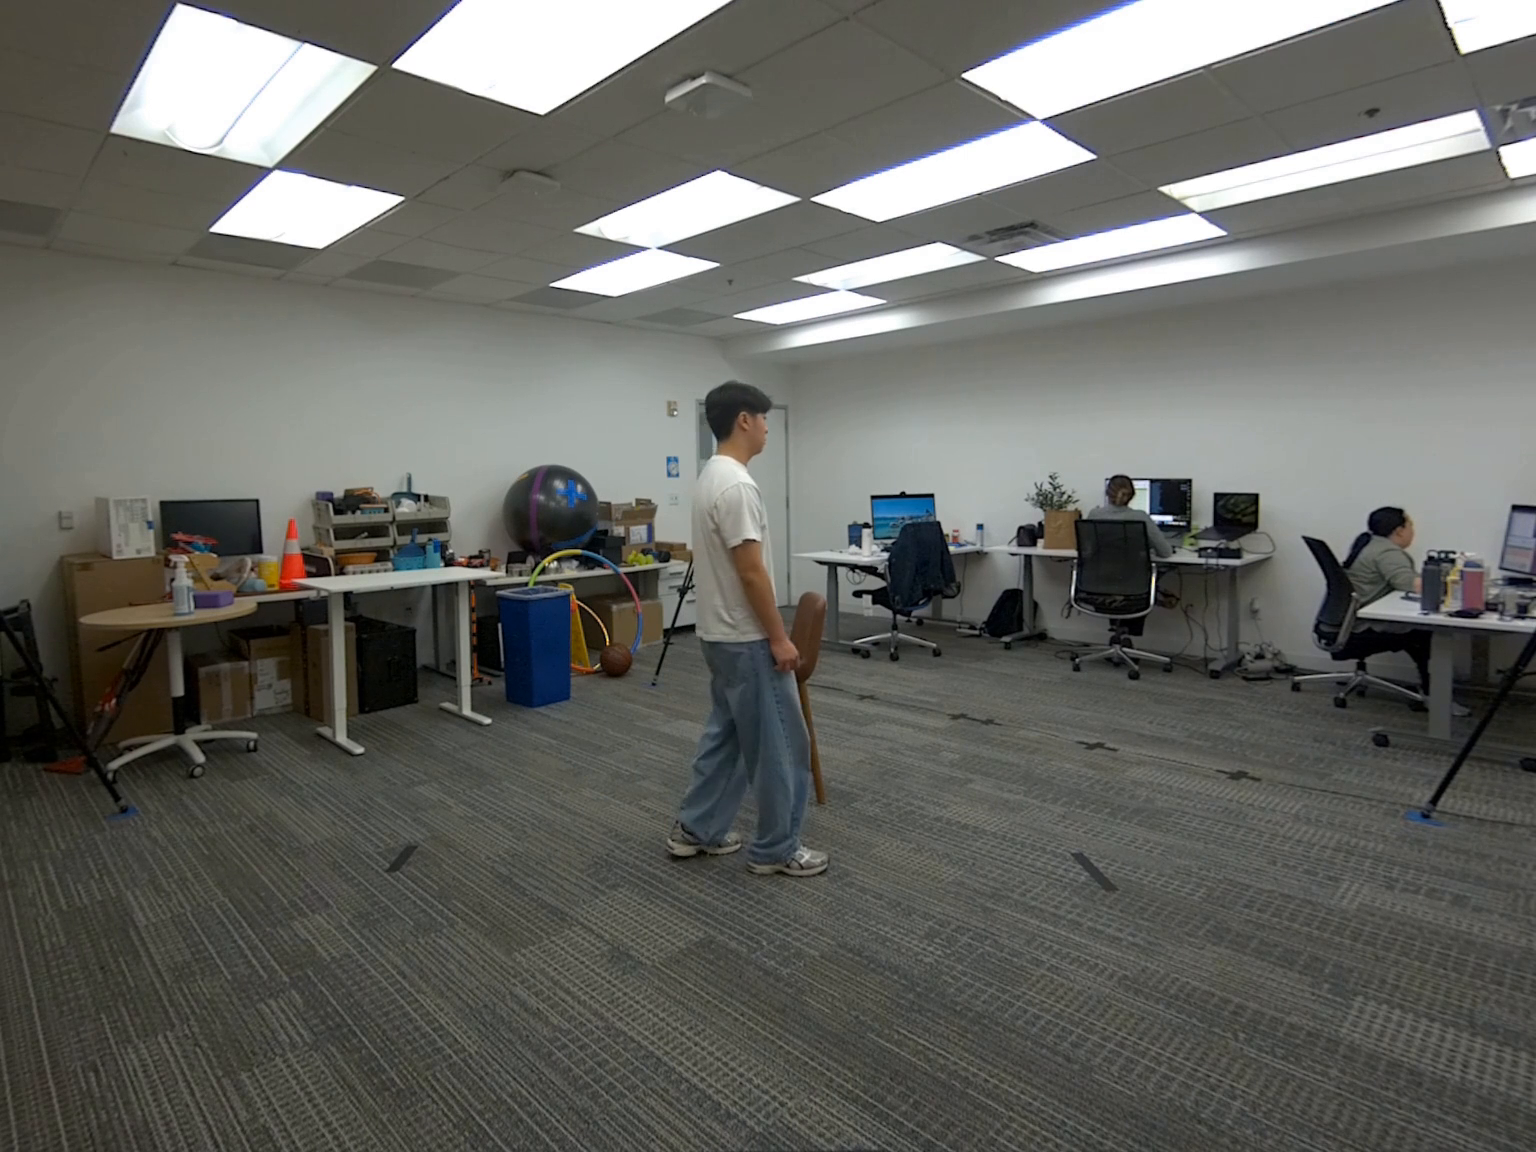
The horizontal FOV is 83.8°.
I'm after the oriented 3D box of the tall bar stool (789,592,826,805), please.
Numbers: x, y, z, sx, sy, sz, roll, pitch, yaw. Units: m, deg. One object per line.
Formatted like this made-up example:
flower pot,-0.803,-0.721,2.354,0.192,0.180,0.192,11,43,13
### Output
tall bar stool,0.009,0.532,3.810,0.465,0.887,0.460,1,4,-5
